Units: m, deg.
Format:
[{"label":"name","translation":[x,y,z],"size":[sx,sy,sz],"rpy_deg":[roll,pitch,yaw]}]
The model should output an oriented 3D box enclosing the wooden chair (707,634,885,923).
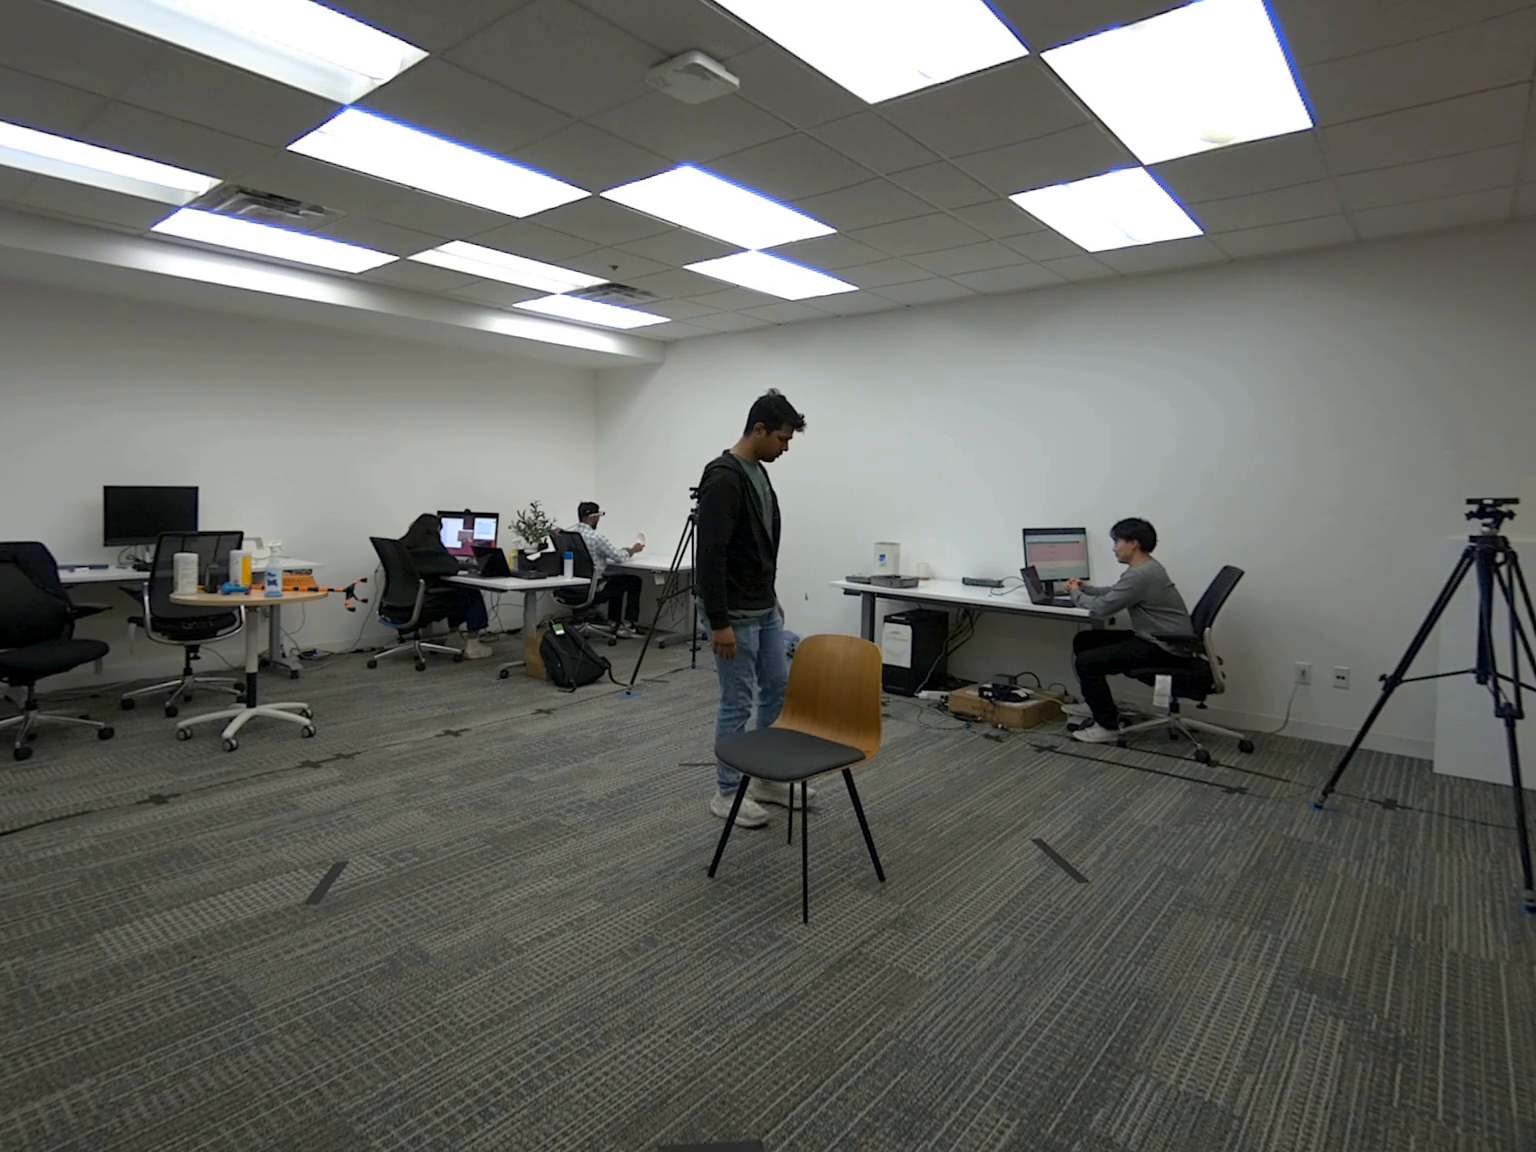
[{"label":"wooden chair","translation":[0.101,0.658,3.007],"size":[0.494,0.877,0.506],"rpy_deg":[5,1,43]}]
